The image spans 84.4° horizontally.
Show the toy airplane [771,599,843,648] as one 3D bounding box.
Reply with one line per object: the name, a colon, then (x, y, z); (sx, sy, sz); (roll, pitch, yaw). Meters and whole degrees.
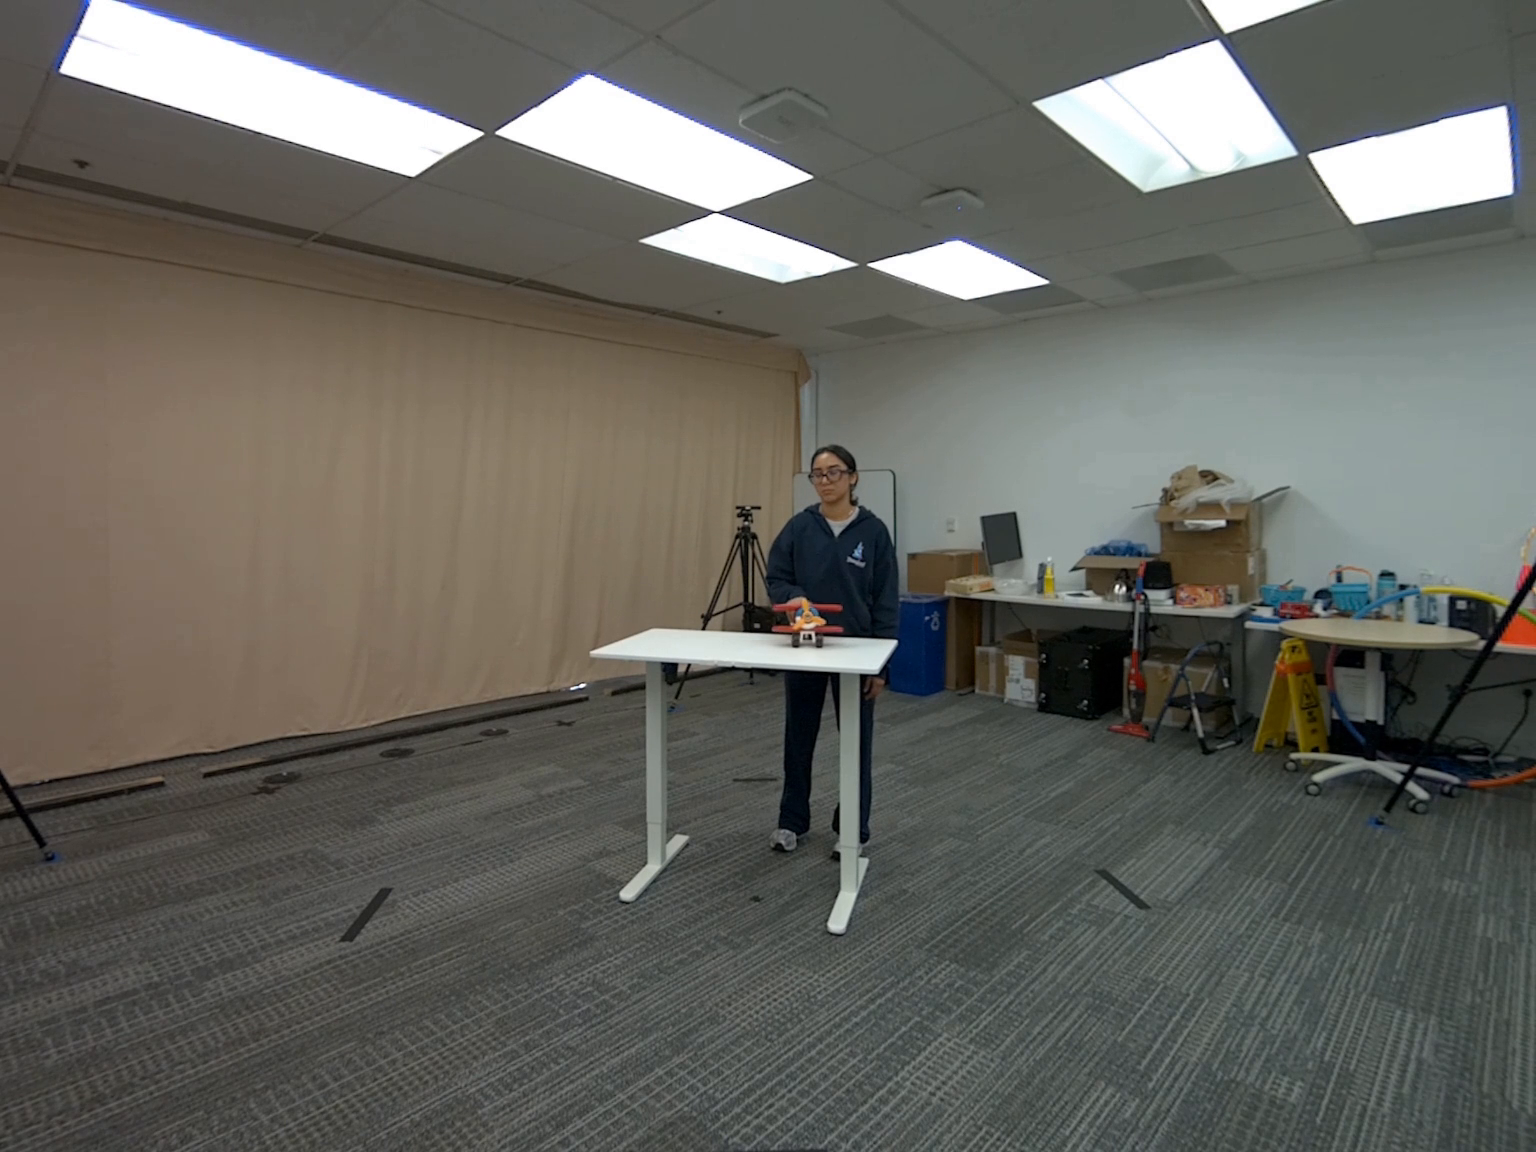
toy airplane: (0.140, 0.169, 3.124); (0.246, 0.156, 0.266); (-2, 6, -23)
